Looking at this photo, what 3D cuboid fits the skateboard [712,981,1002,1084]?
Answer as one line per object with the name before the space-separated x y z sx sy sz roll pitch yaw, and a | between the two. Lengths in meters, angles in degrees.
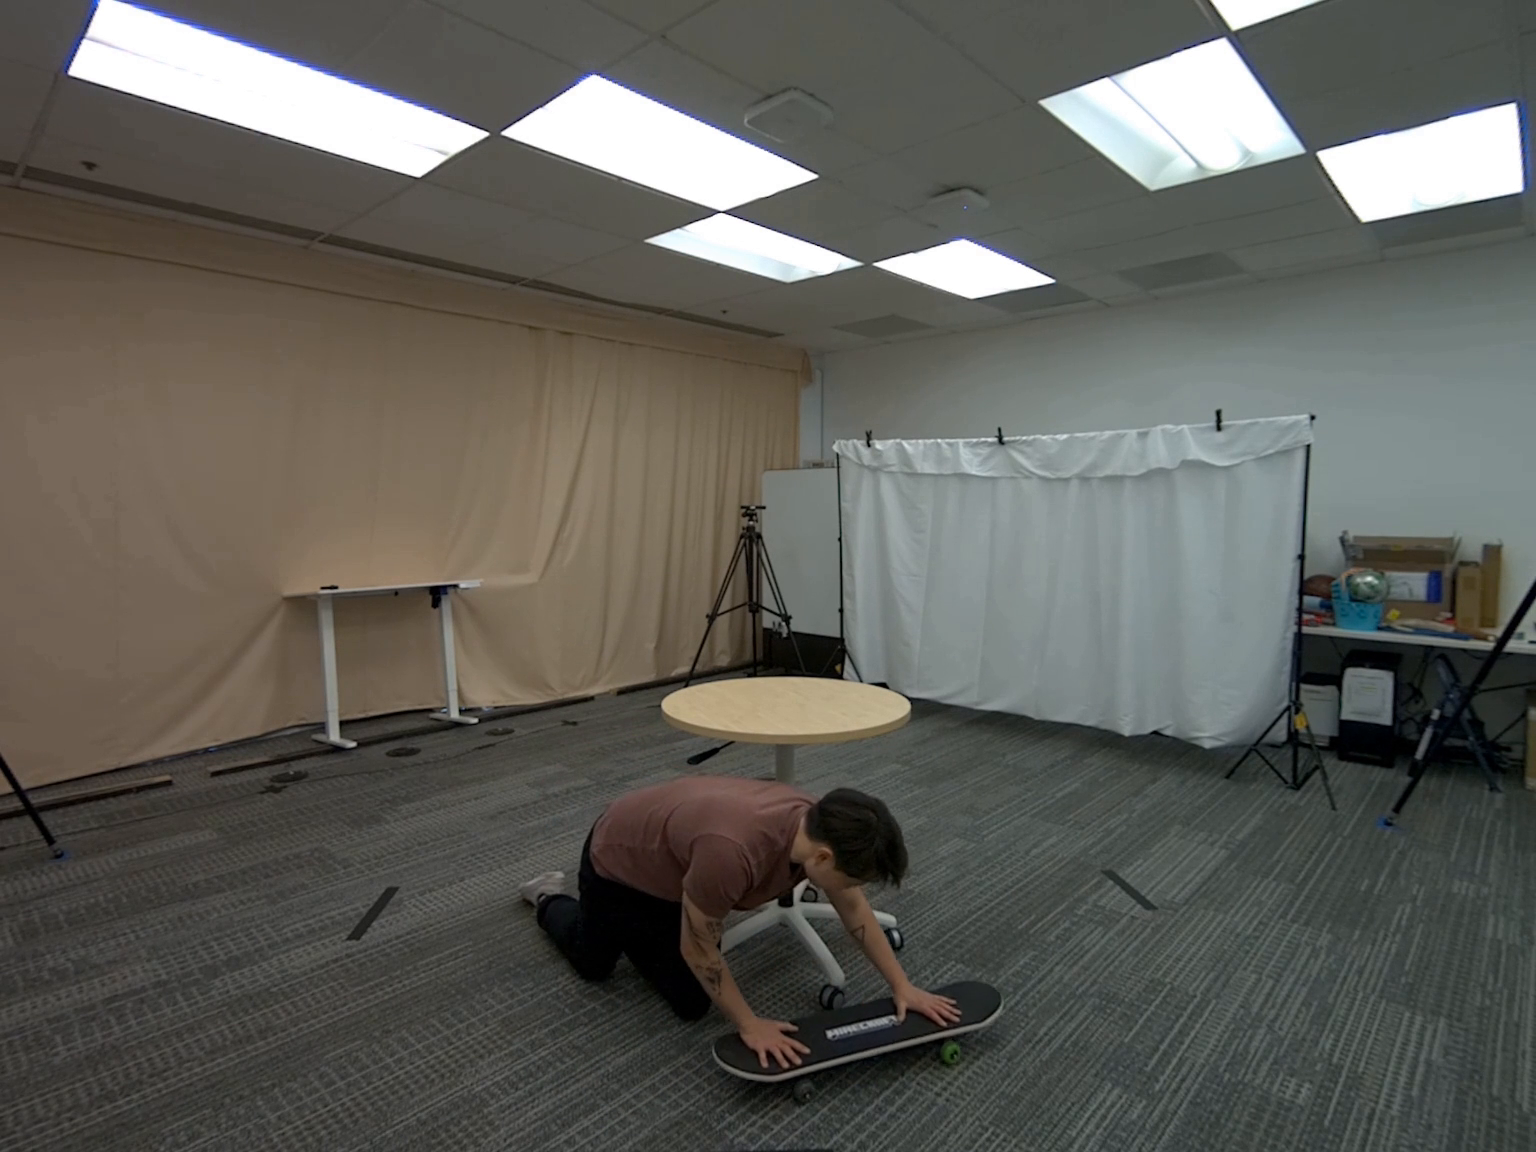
skateboard | 0.252 1.160 2.103 0.771 0.110 0.197 -2 4 -19
